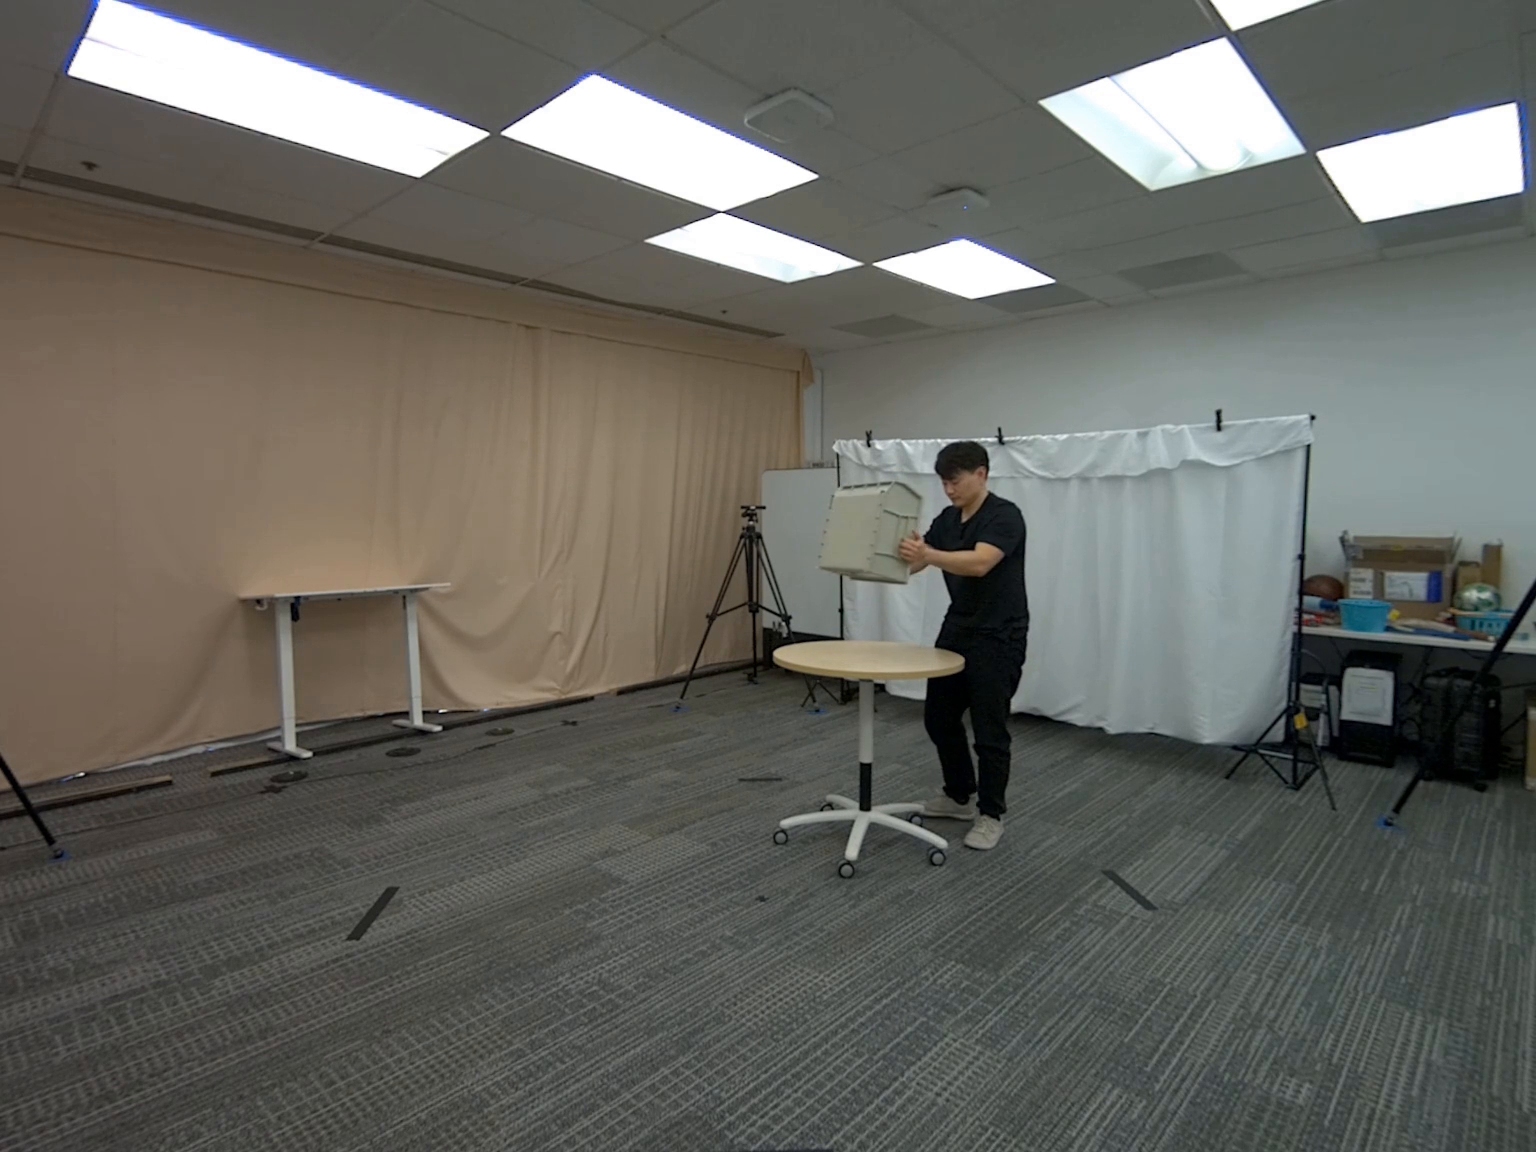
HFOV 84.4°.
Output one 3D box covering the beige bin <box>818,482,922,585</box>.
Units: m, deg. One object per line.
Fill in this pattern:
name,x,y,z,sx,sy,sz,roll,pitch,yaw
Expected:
beige bin,0.402,-0.169,3.370,0.184,0.378,0.432,13,-3,-24
